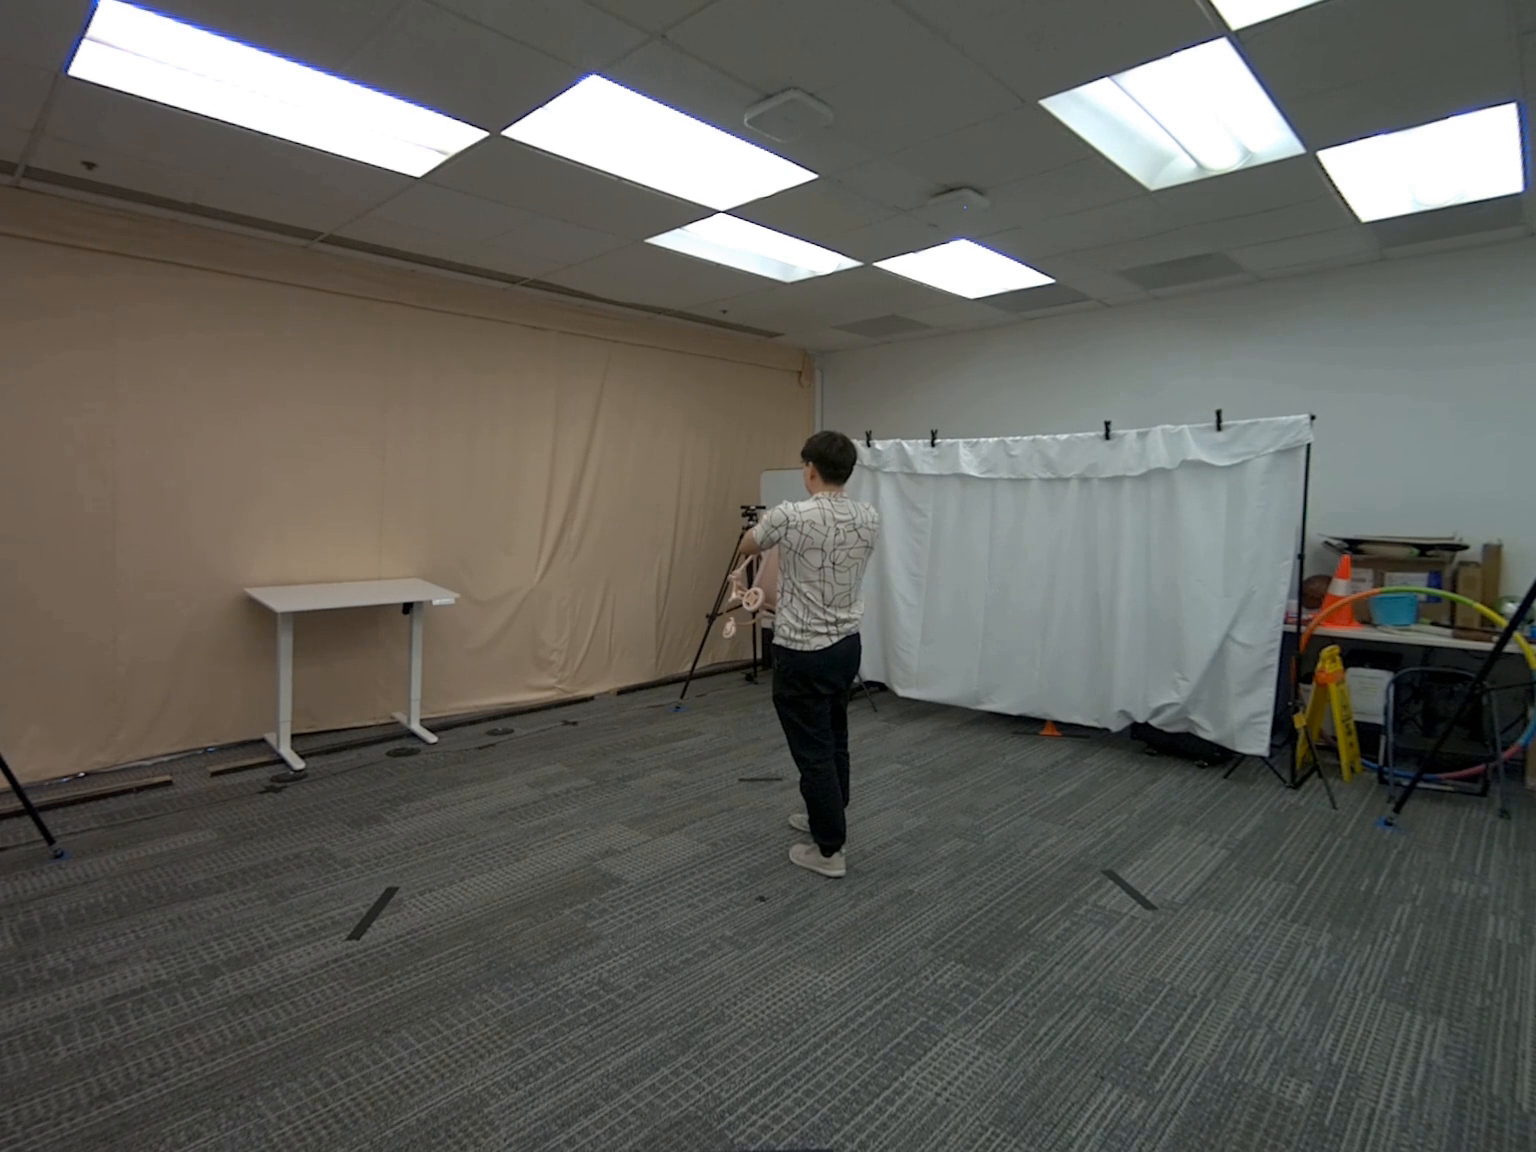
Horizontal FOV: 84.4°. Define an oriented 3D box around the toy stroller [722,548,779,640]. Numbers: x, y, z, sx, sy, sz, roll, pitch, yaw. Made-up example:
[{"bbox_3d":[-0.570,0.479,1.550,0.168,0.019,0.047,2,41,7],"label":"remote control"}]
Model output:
[{"bbox_3d":[-0.015,0.023,3.717,0.272,0.538,0.351,30,-26,-34],"label":"toy stroller"}]
